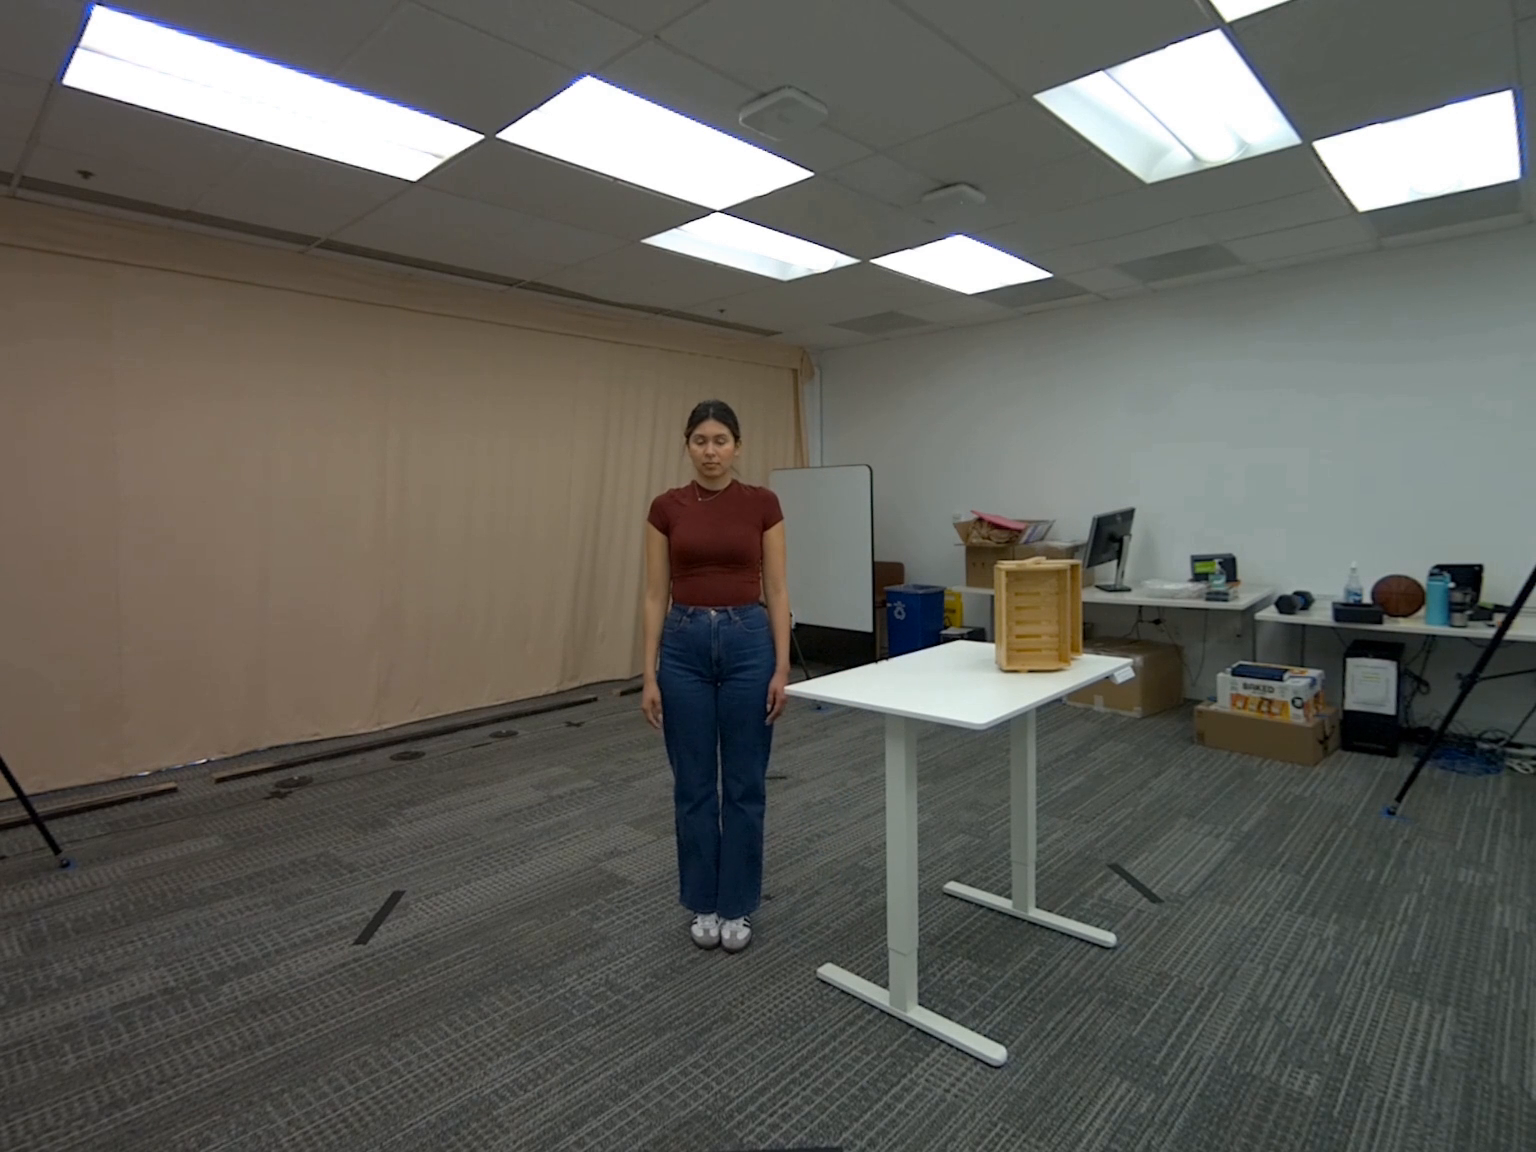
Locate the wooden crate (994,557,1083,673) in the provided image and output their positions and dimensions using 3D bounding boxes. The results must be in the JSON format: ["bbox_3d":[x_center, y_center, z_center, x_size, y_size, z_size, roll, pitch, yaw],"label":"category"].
[{"bbox_3d":[0.854,0.117,2.568,0.303,0.324,0.273,-2,3,3],"label":"wooden crate"}]
